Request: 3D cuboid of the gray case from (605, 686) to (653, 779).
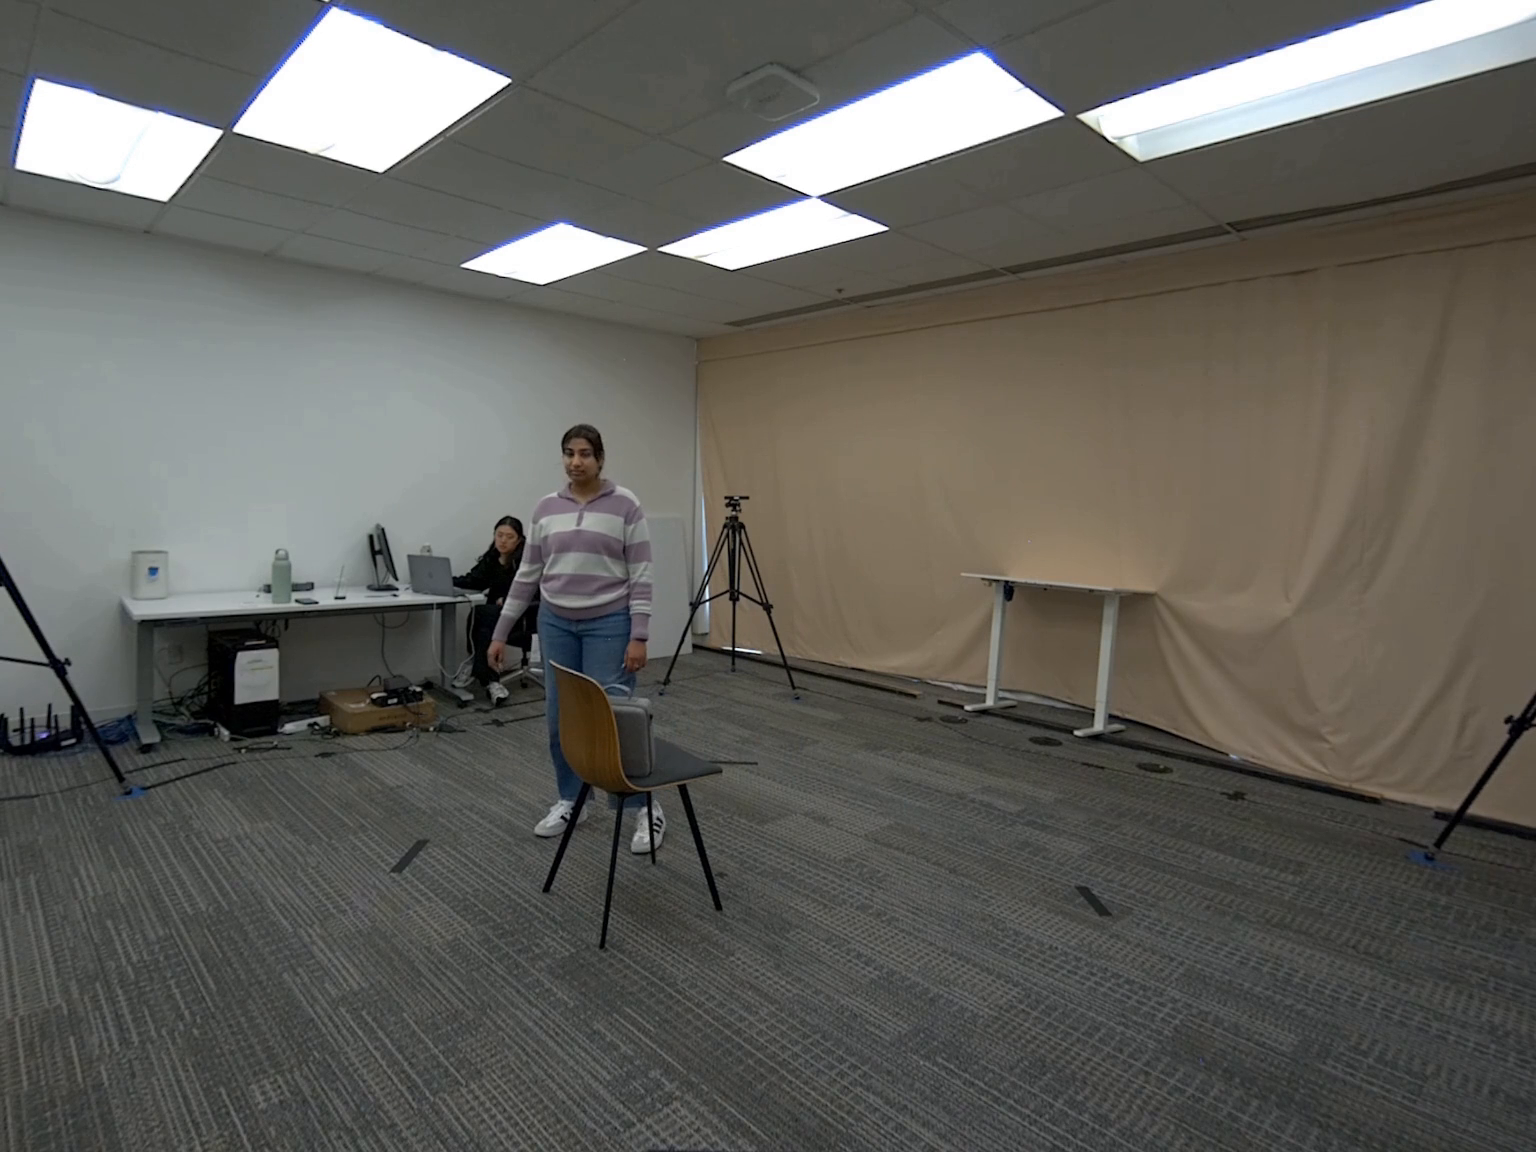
[{"bbox_3d":[-0.513,0.519,2.767,0.260,0.258,0.104,3,11,17],"label":"gray case"}]
